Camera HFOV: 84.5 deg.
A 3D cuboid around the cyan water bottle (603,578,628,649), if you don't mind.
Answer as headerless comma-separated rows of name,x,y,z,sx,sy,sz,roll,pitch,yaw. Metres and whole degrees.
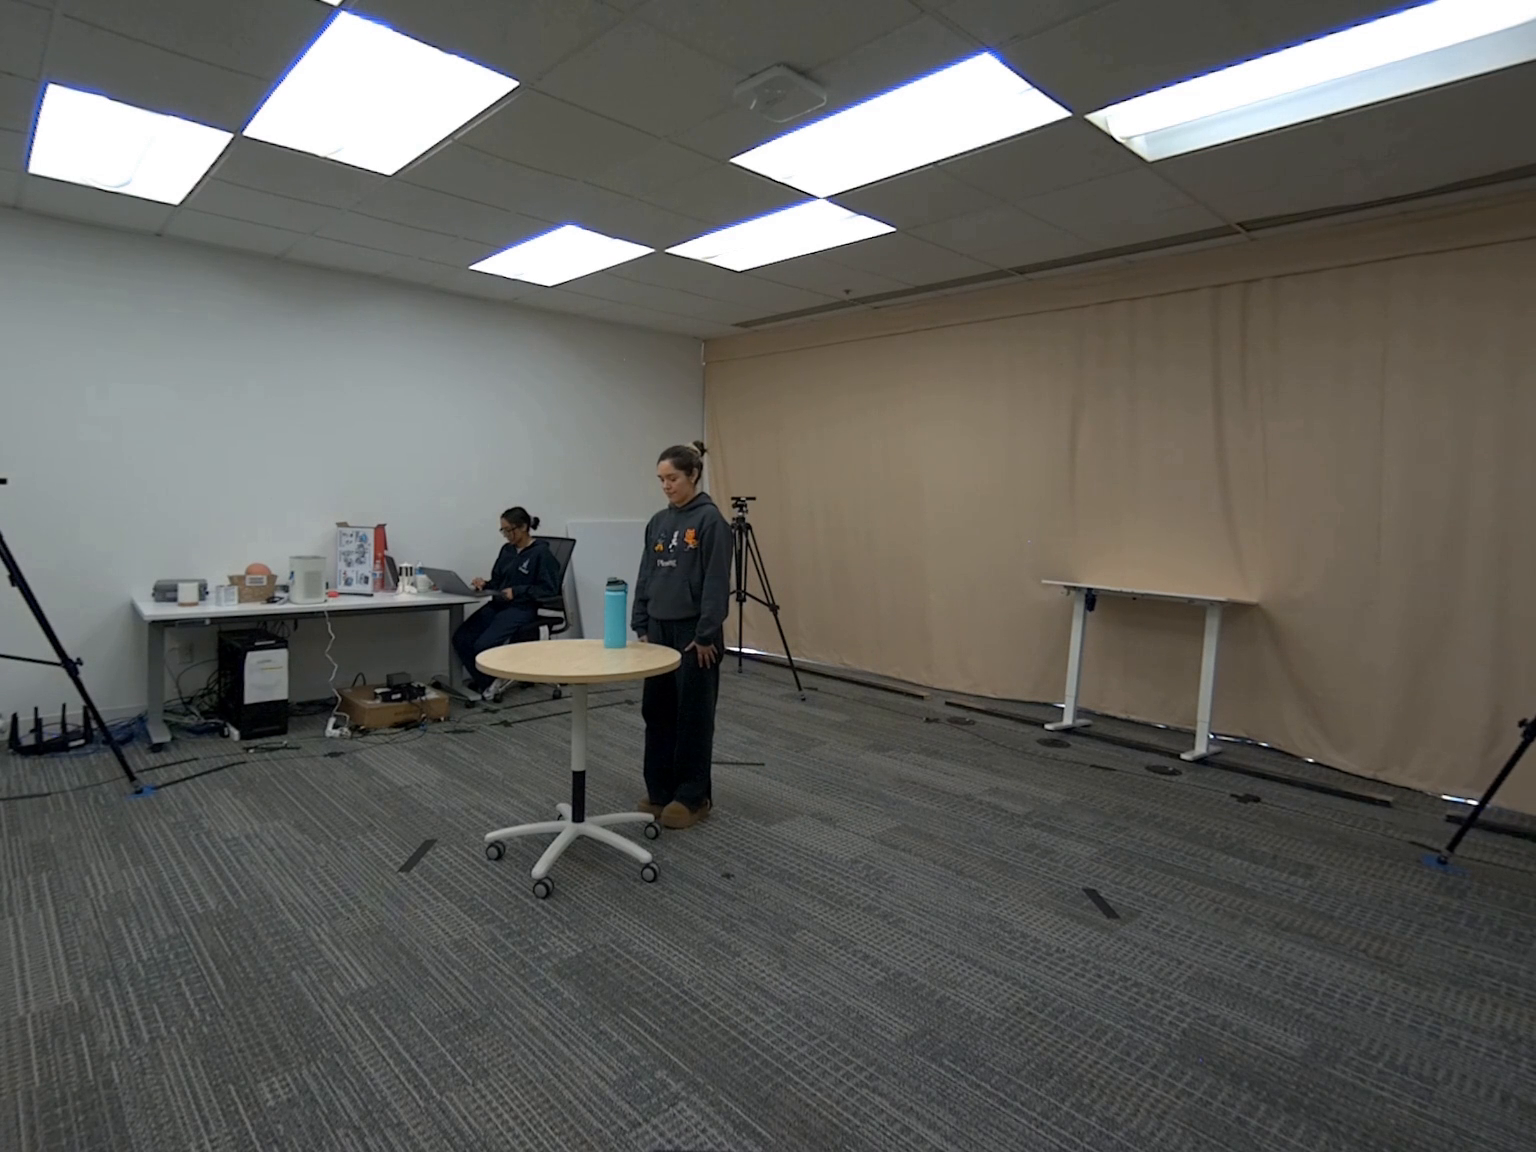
cyan water bottle,-0.628,0.147,3.412,0.092,0.283,0.092,2,2,-1
